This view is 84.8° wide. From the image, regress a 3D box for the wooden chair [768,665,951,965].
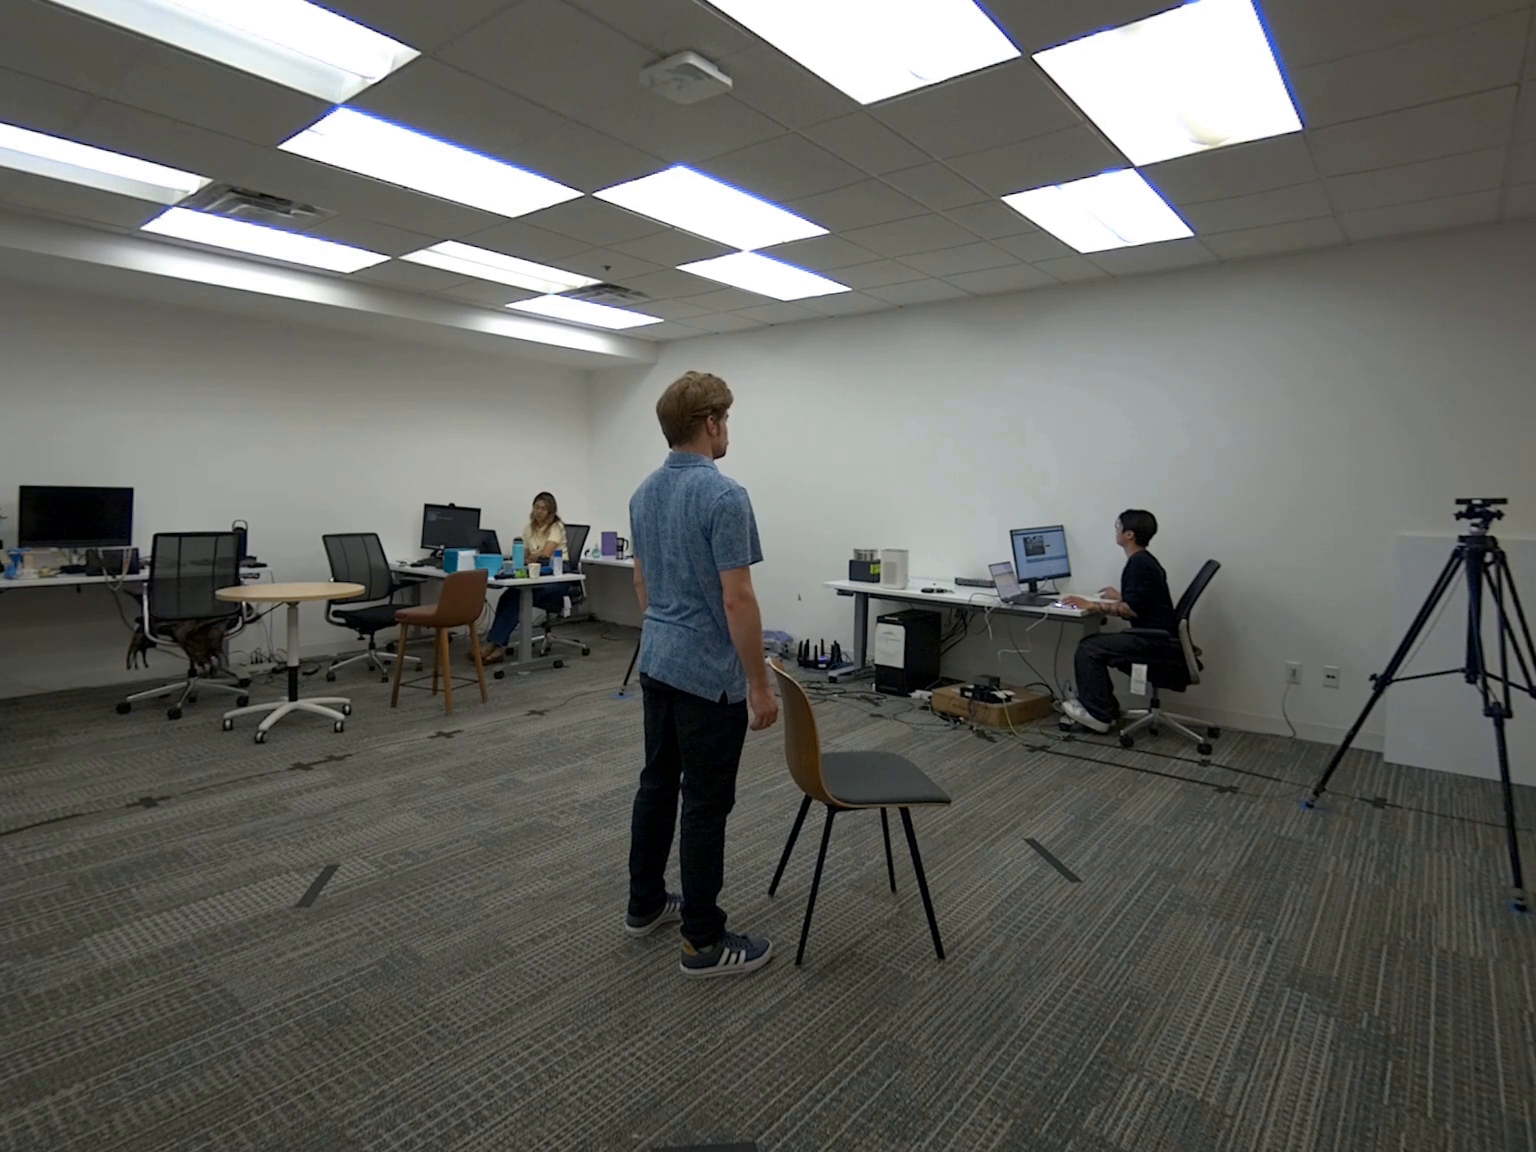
[{"bbox_3d":[0.276,0.690,2.707,0.519,0.875,0.484,-3,3,-9],"label":"wooden chair"}]
